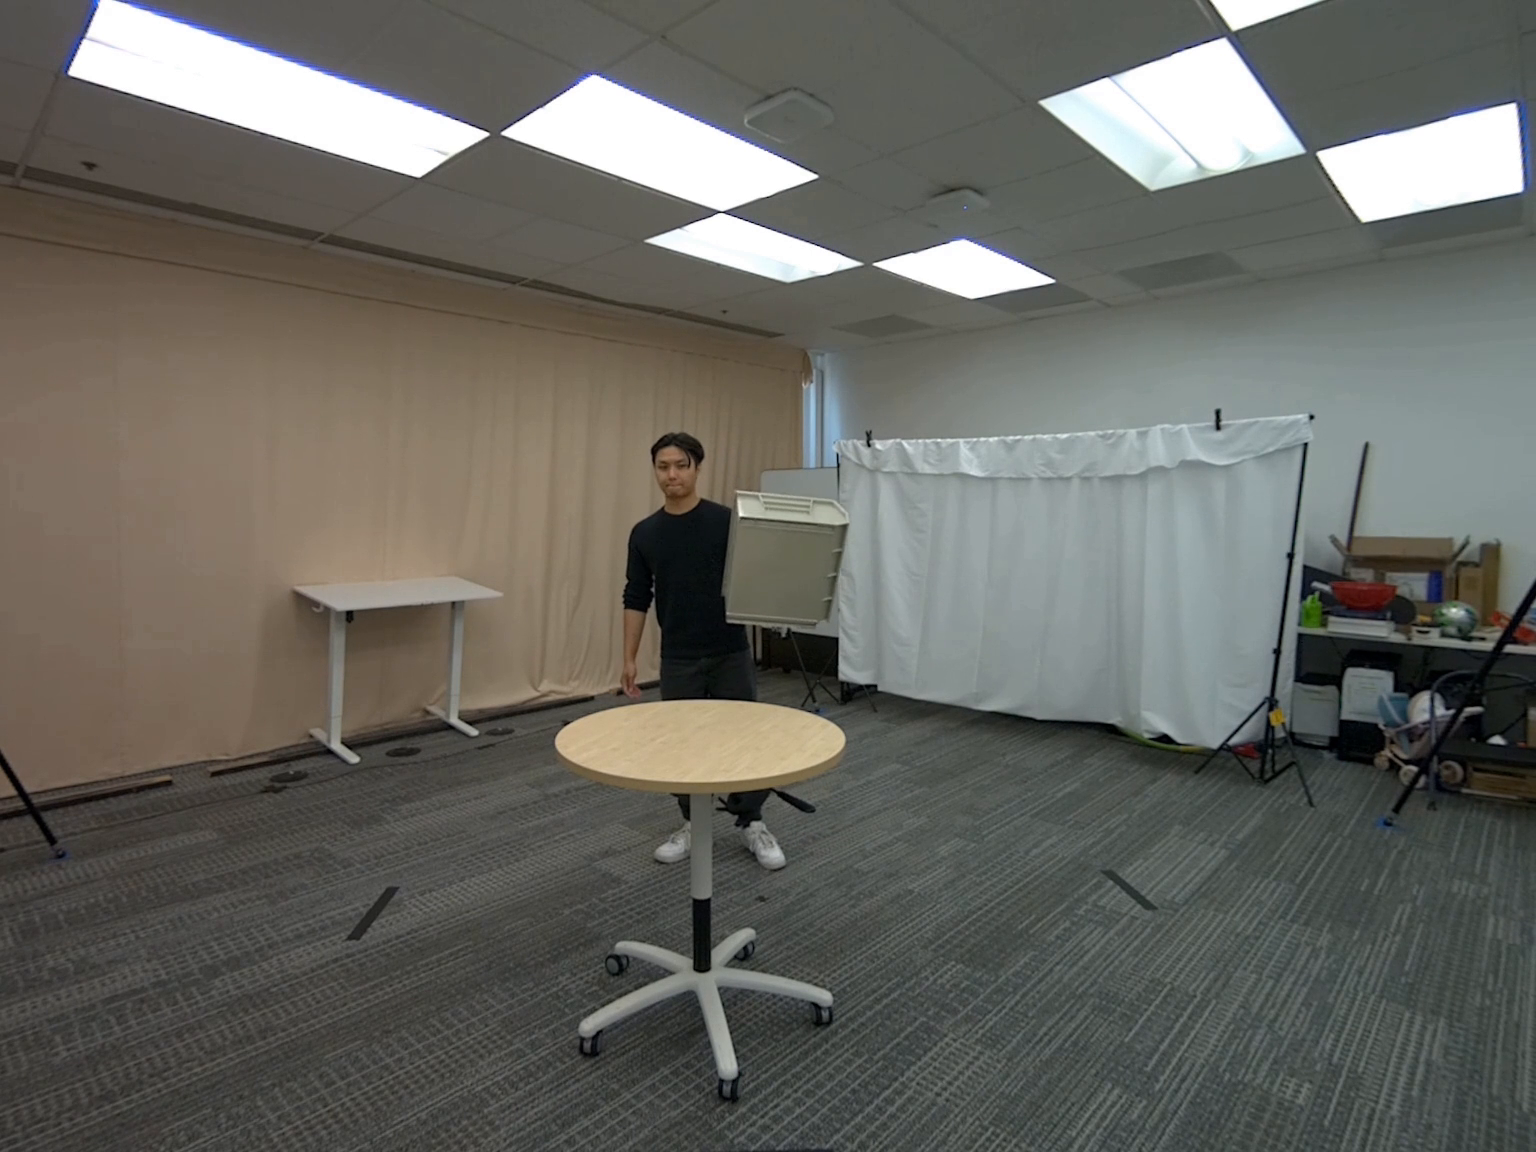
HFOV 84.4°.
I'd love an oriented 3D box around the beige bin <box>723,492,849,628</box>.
[{"bbox_3d":[0.055,-0.049,2.886,0.375,0.417,0.192,5,31,-5],"label":"beige bin"}]
